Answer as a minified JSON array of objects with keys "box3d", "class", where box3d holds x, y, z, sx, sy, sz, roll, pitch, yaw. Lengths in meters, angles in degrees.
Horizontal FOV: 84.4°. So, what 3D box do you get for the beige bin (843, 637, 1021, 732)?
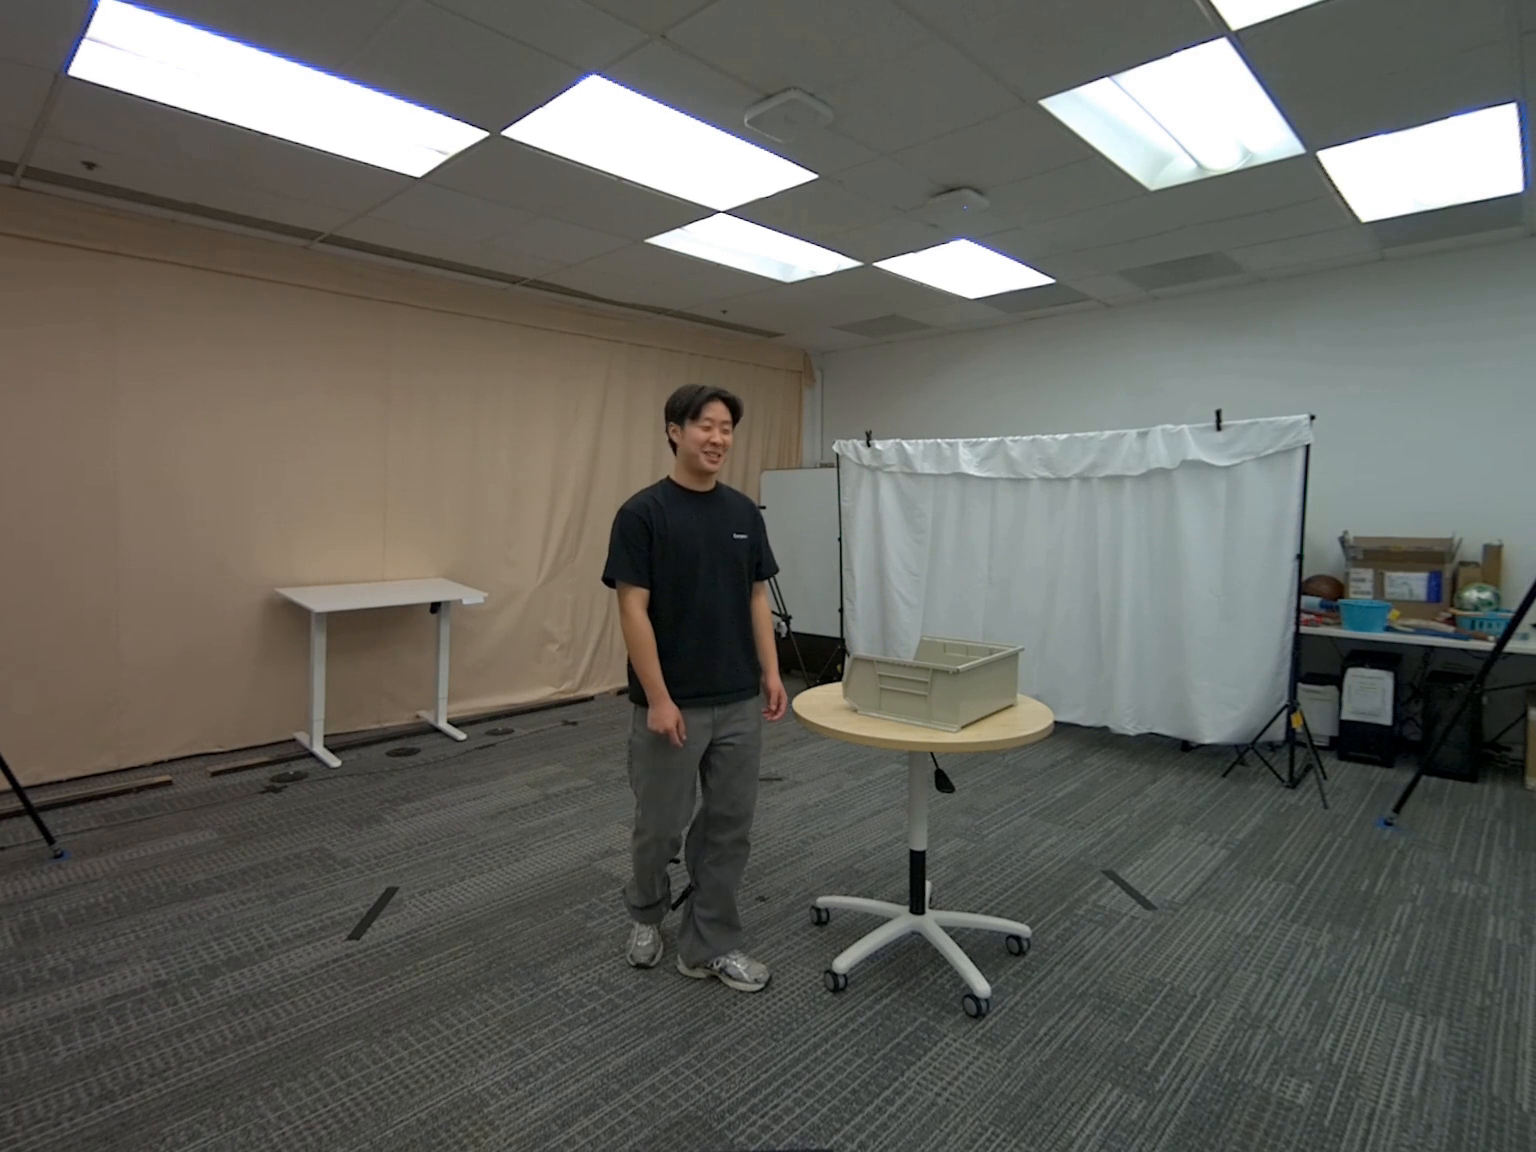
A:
[{"box3d":[0.501,0.310,2.519,0.390,0.188,0.410,4,6,40],"class":"beige bin"}]
